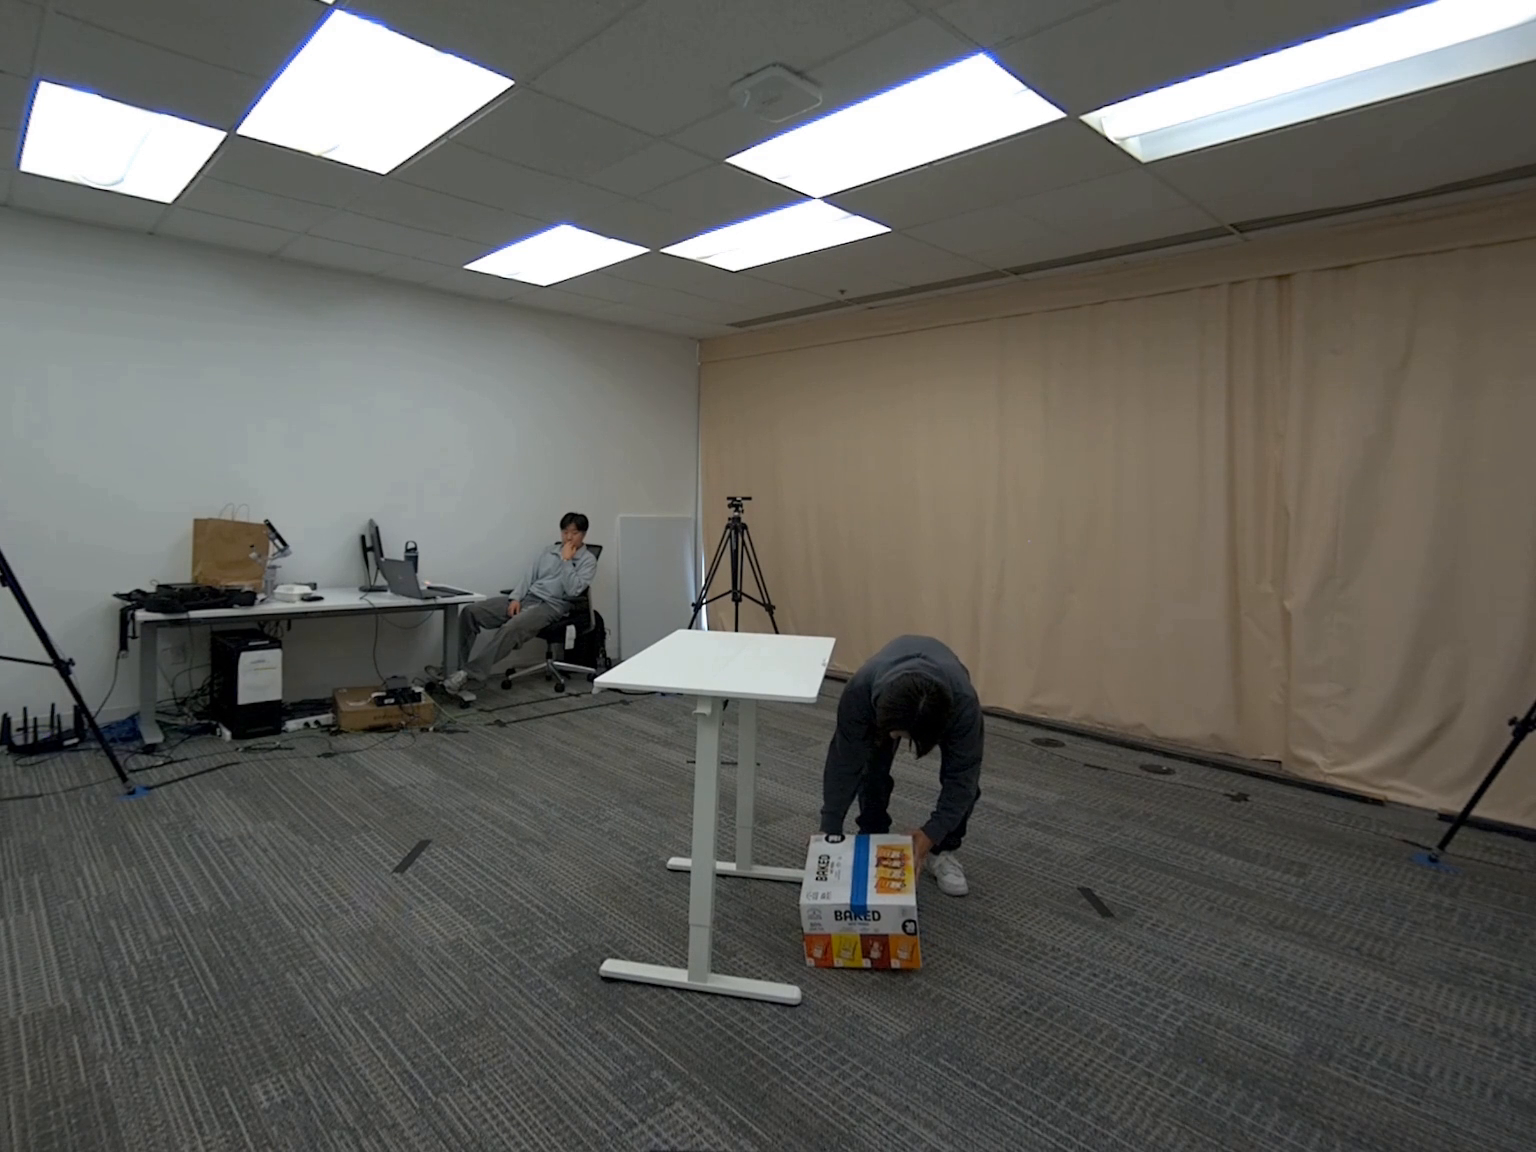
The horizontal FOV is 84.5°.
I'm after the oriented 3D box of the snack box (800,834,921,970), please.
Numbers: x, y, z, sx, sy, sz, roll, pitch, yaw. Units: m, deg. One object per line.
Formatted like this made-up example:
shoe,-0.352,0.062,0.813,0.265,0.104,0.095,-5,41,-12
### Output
snack box,0.290,1.014,2.665,0.343,0.204,0.405,-3,12,10
